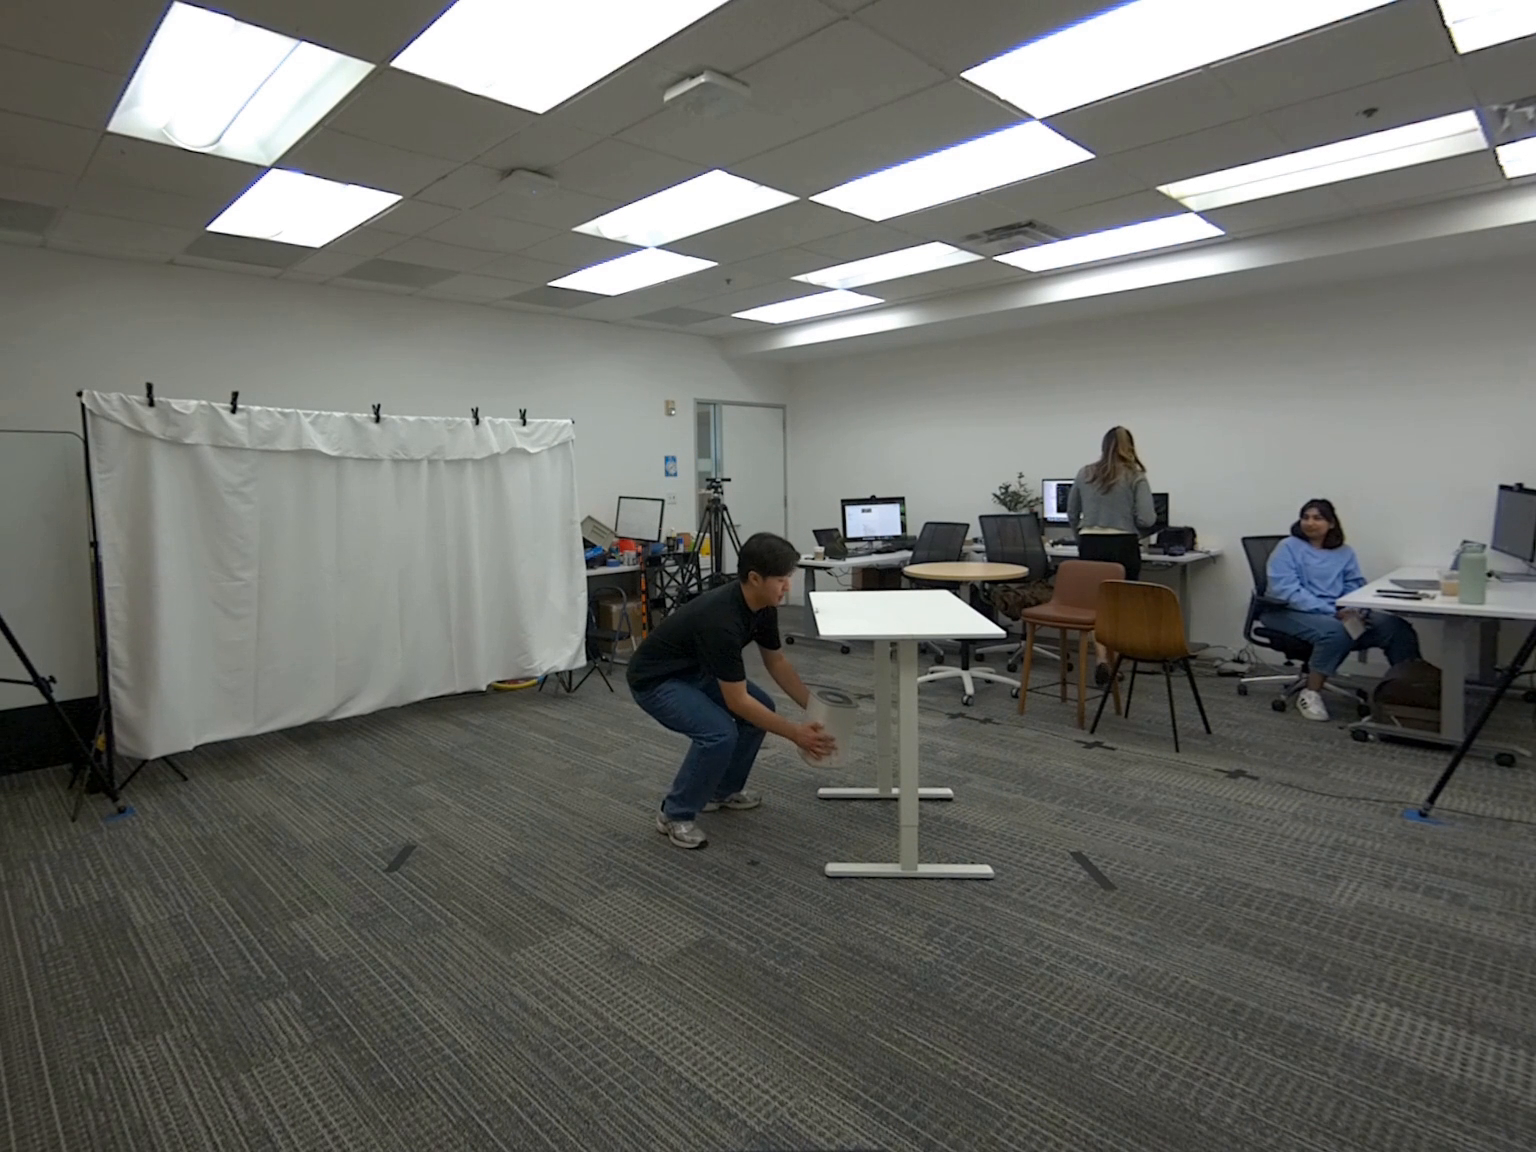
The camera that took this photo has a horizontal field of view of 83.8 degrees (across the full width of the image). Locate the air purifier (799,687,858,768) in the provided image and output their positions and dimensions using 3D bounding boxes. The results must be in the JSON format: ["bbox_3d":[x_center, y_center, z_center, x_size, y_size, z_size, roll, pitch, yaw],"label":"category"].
[{"bbox_3d":[0.228,0.591,3.293,0.167,0.264,0.176,8,10,-22],"label":"air purifier"}]
